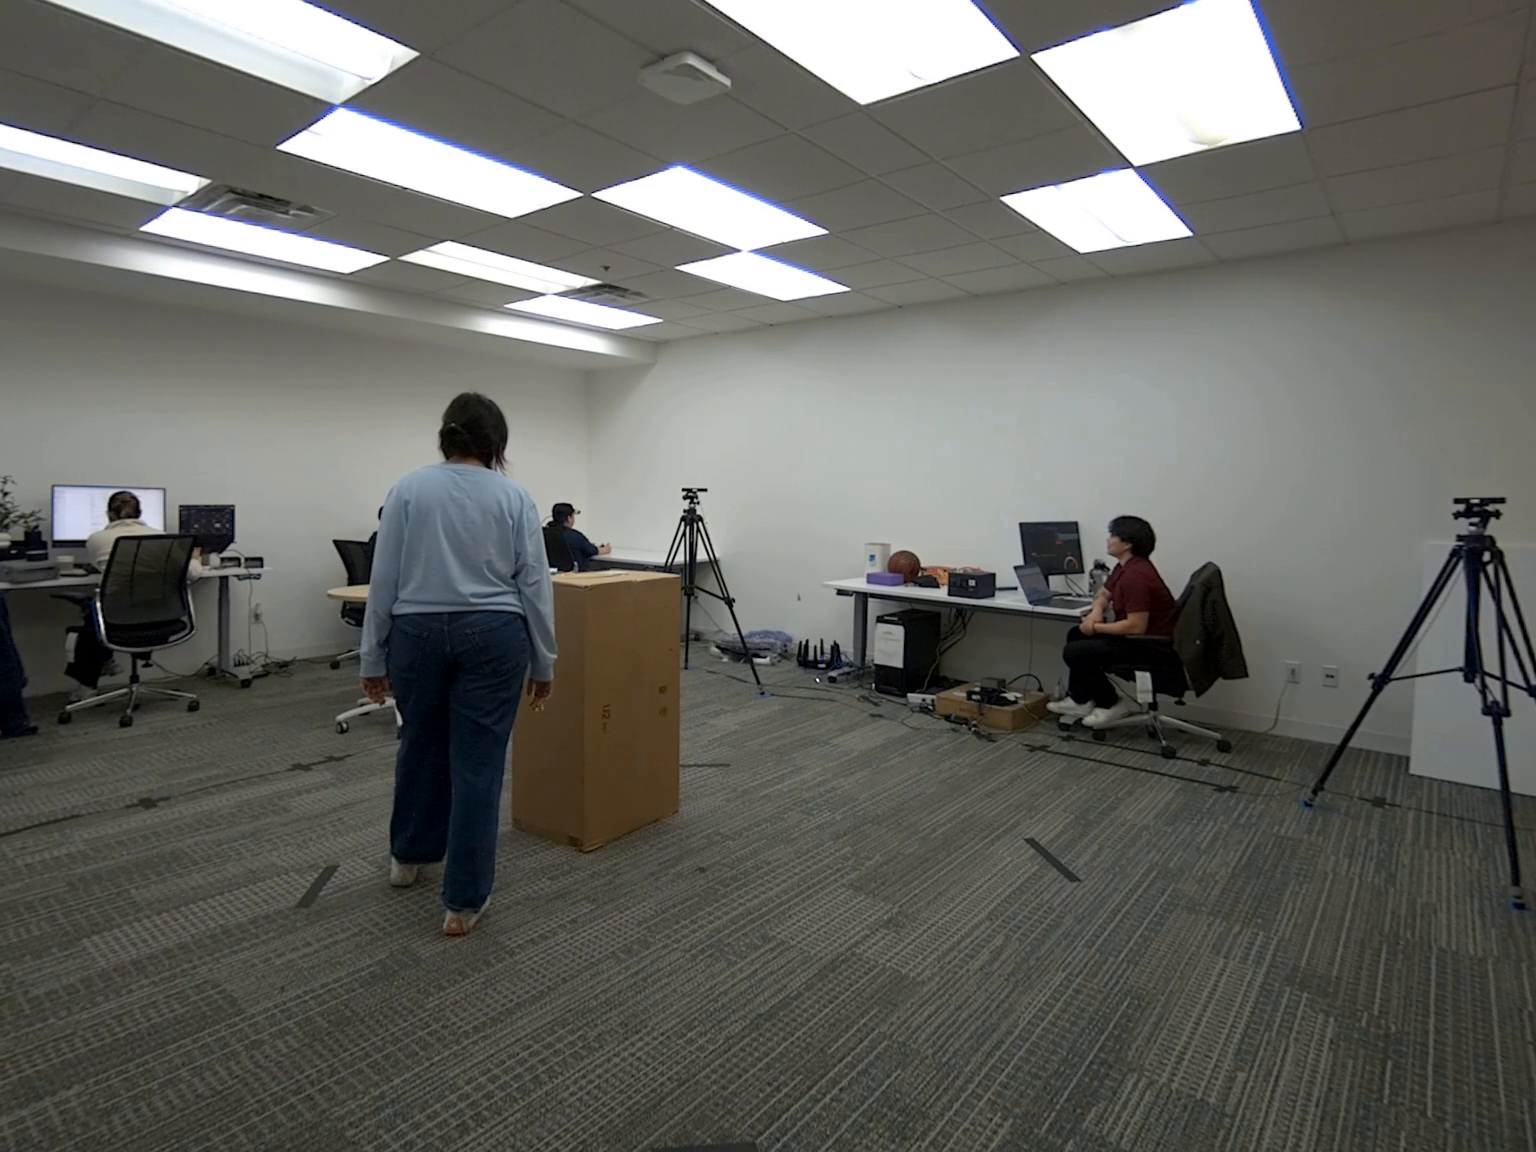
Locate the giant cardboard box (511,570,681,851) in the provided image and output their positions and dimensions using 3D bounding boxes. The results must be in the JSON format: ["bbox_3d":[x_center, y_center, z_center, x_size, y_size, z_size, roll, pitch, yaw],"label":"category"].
[{"bbox_3d":[-0.719,0.511,3.559,0.440,1.023,0.561,3,3,35],"label":"giant cardboard box"}]
